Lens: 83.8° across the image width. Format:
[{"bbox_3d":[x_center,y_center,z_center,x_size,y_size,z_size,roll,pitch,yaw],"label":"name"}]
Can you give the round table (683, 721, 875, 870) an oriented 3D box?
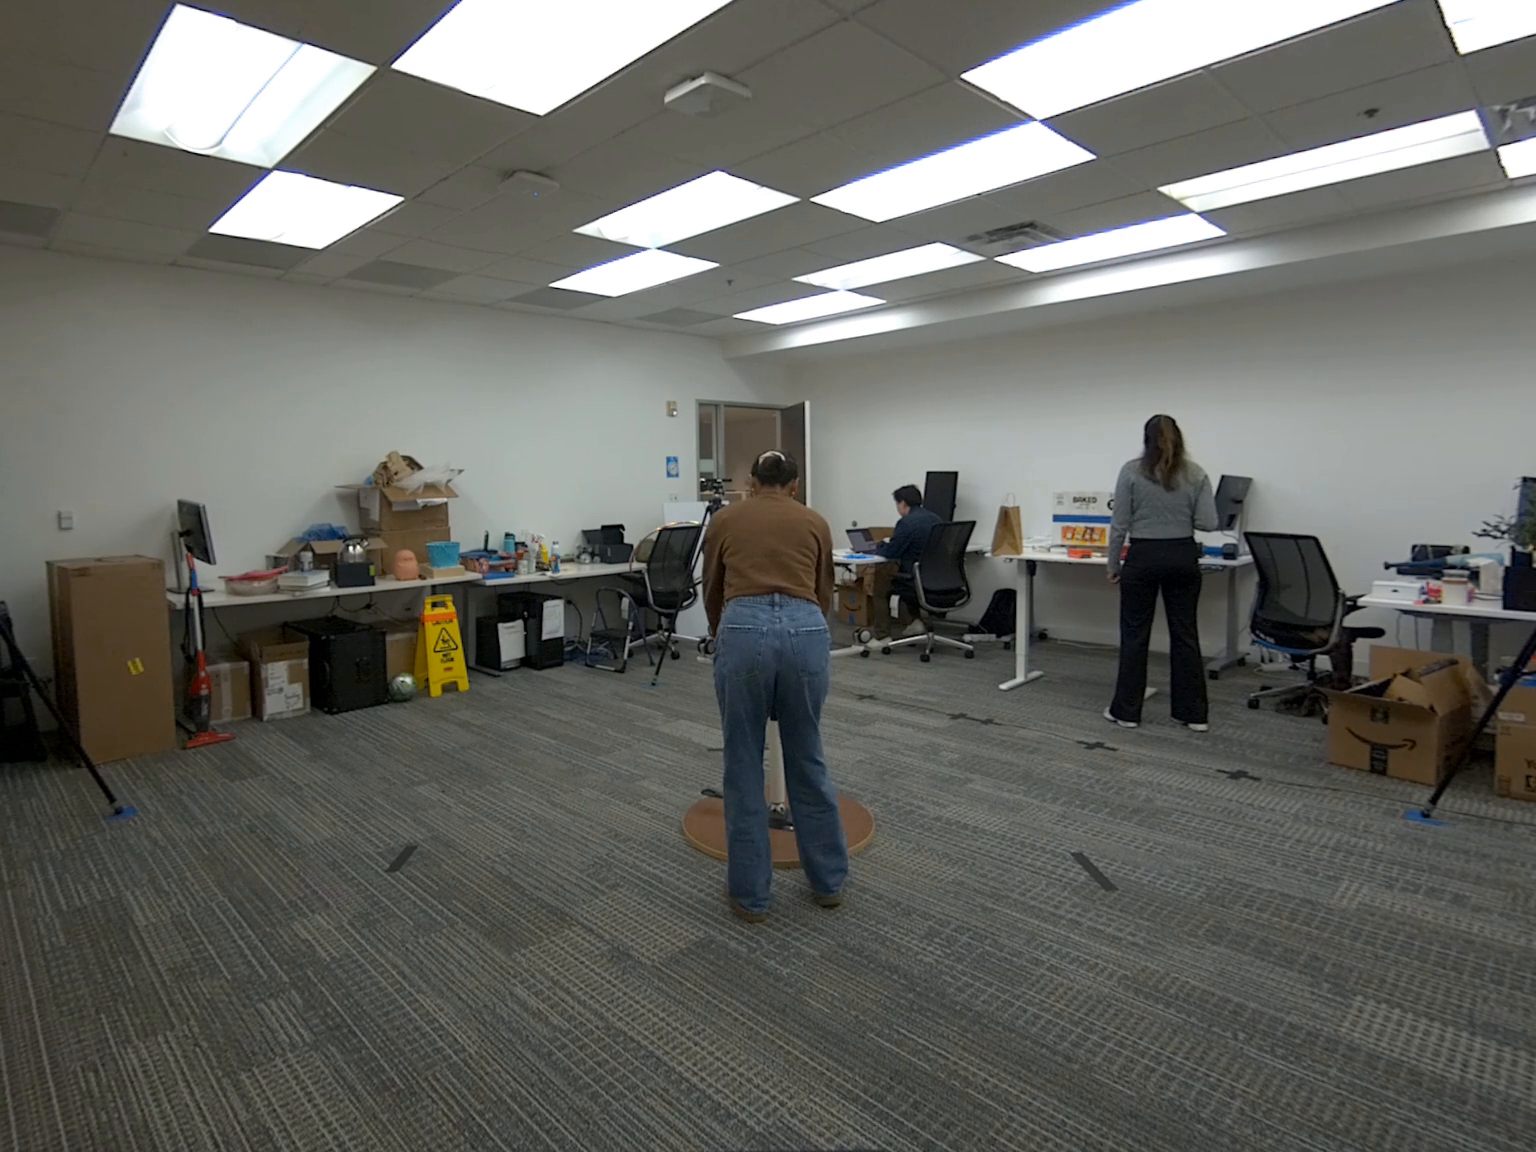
[{"bbox_3d":[0.036,0.612,3.430,0.763,0.791,0.768,-1,5,-2],"label":"round table"}]
